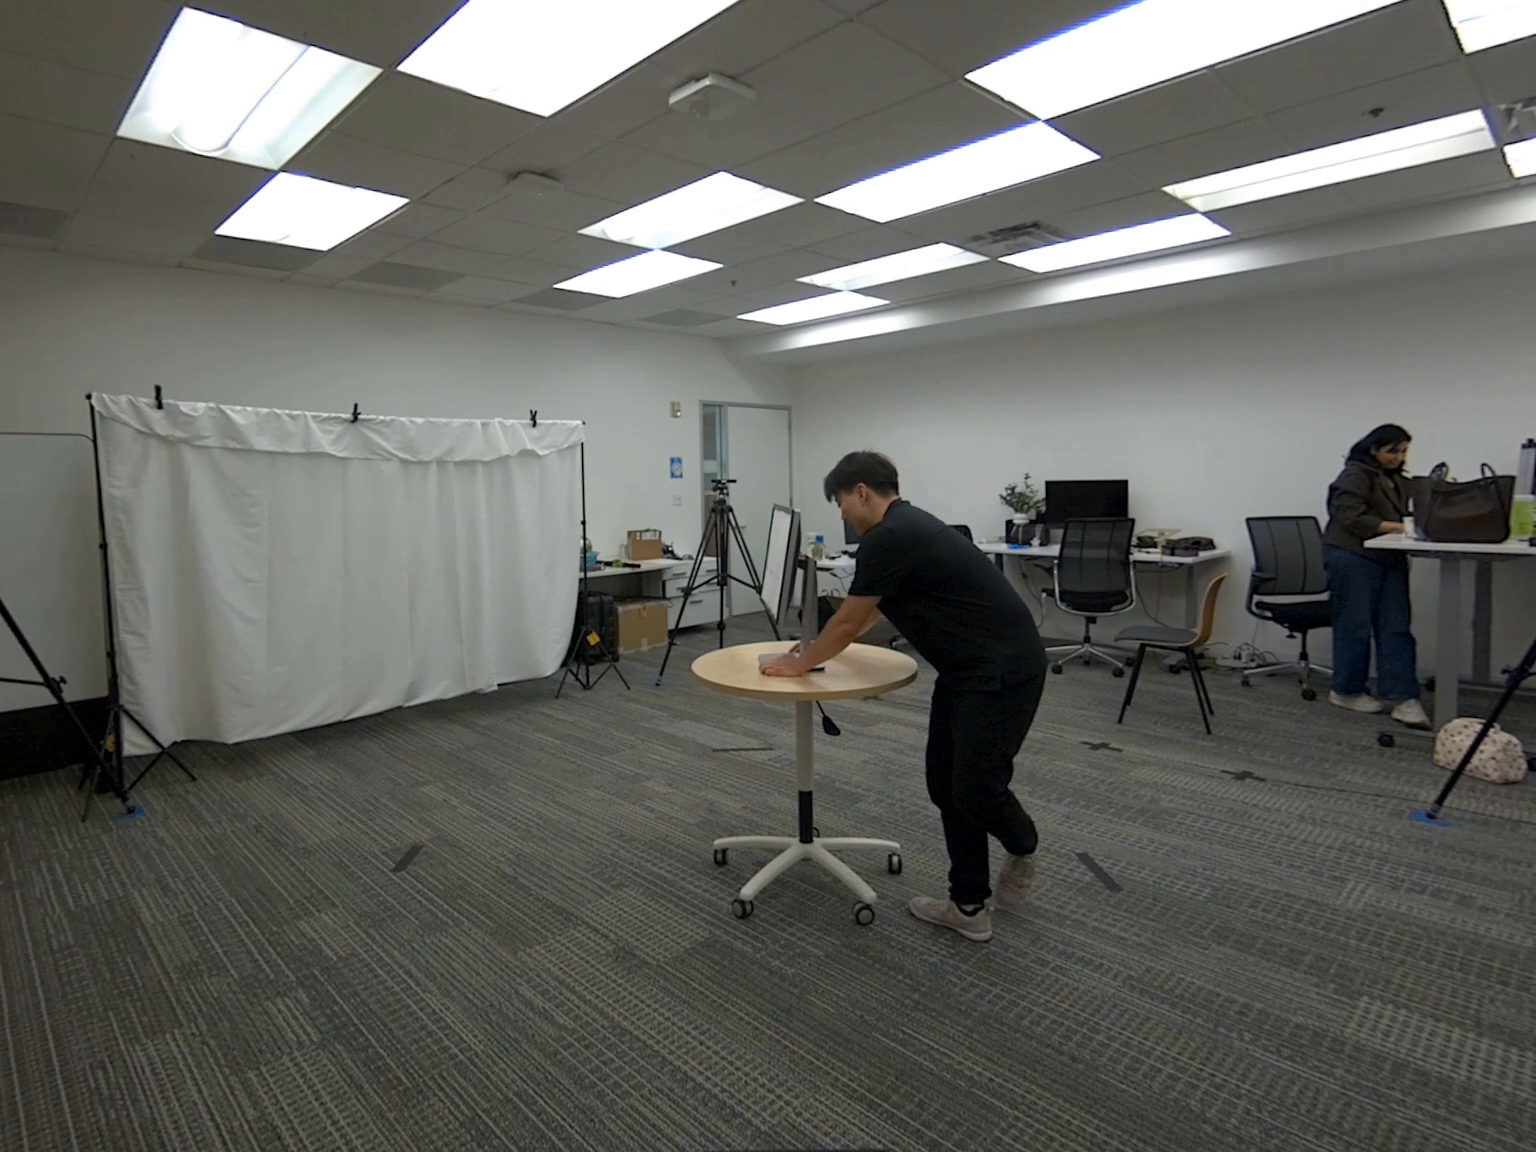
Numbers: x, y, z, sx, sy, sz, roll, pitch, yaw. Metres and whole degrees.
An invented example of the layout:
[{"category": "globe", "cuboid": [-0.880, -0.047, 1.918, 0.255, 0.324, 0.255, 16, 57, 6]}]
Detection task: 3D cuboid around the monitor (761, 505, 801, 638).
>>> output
[{"category": "monitor", "cuboid": [0.080, 0.039, 2.896, 0.186, 0.520, 0.545, -3, 6, -7]}]
